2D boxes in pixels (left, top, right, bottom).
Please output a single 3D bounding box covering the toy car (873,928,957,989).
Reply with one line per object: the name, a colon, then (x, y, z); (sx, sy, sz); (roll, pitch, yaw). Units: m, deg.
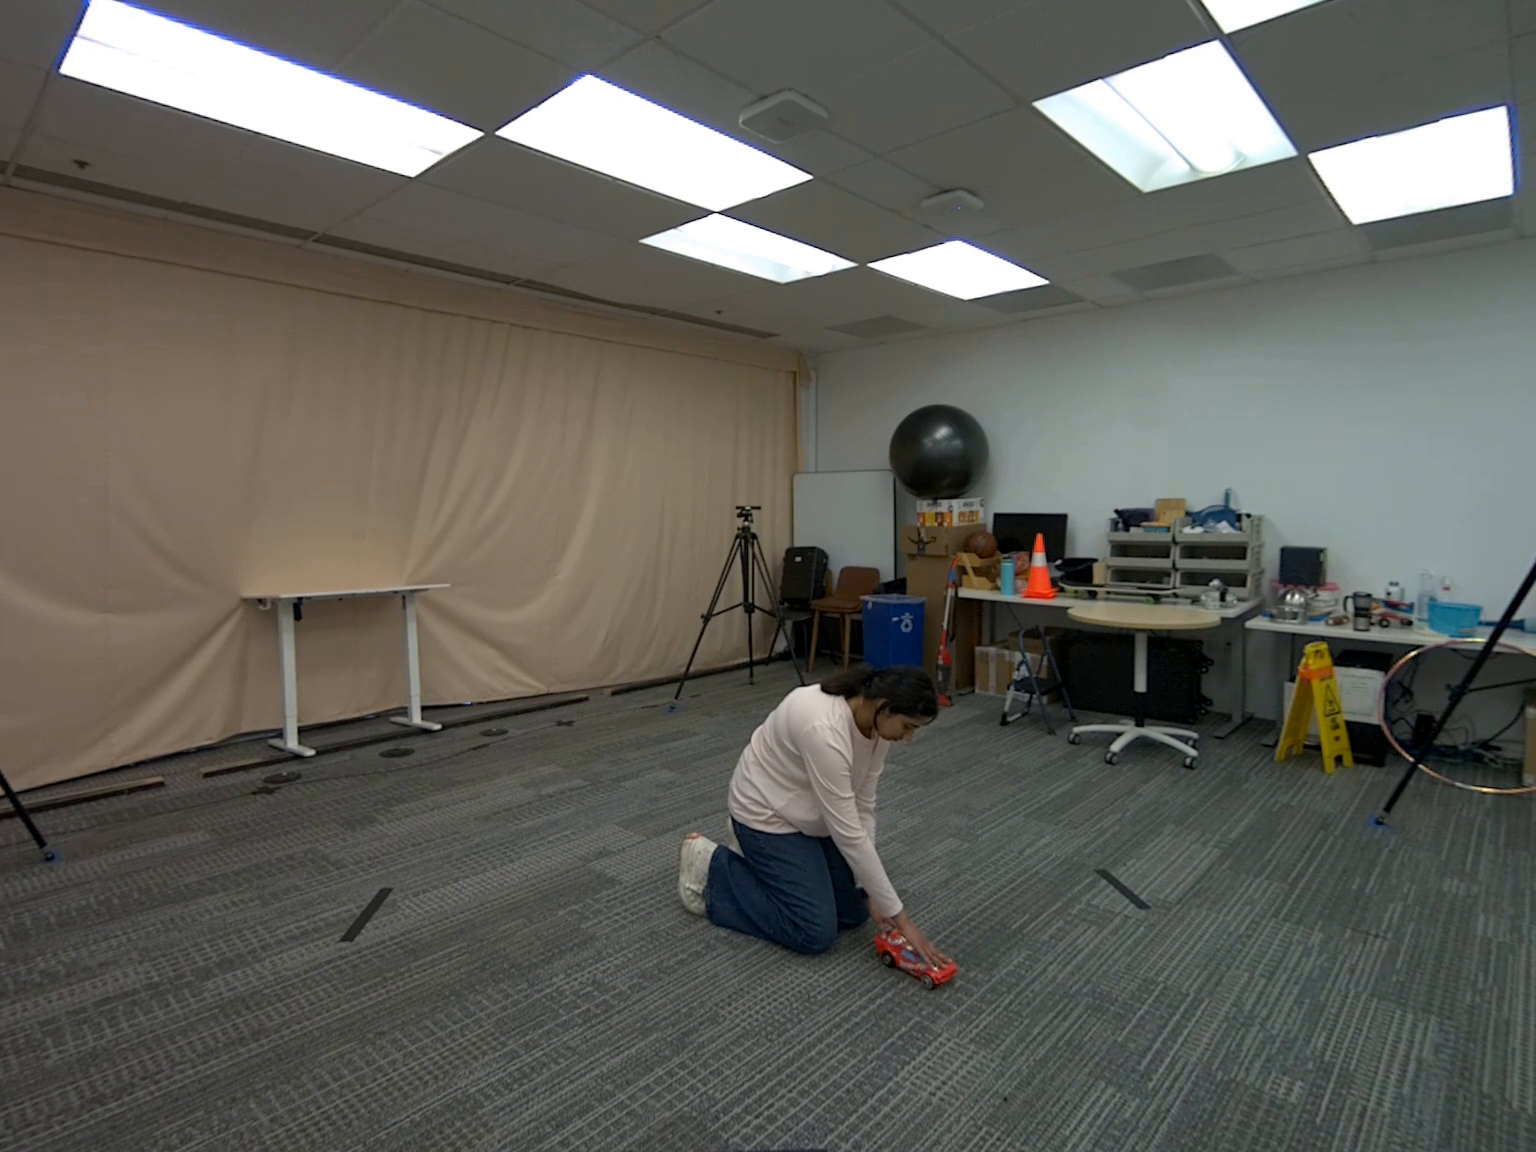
toy car: (0.440, 1.146, 2.537); (0.126, 0.082, 0.264); (-8, 20, -39)
